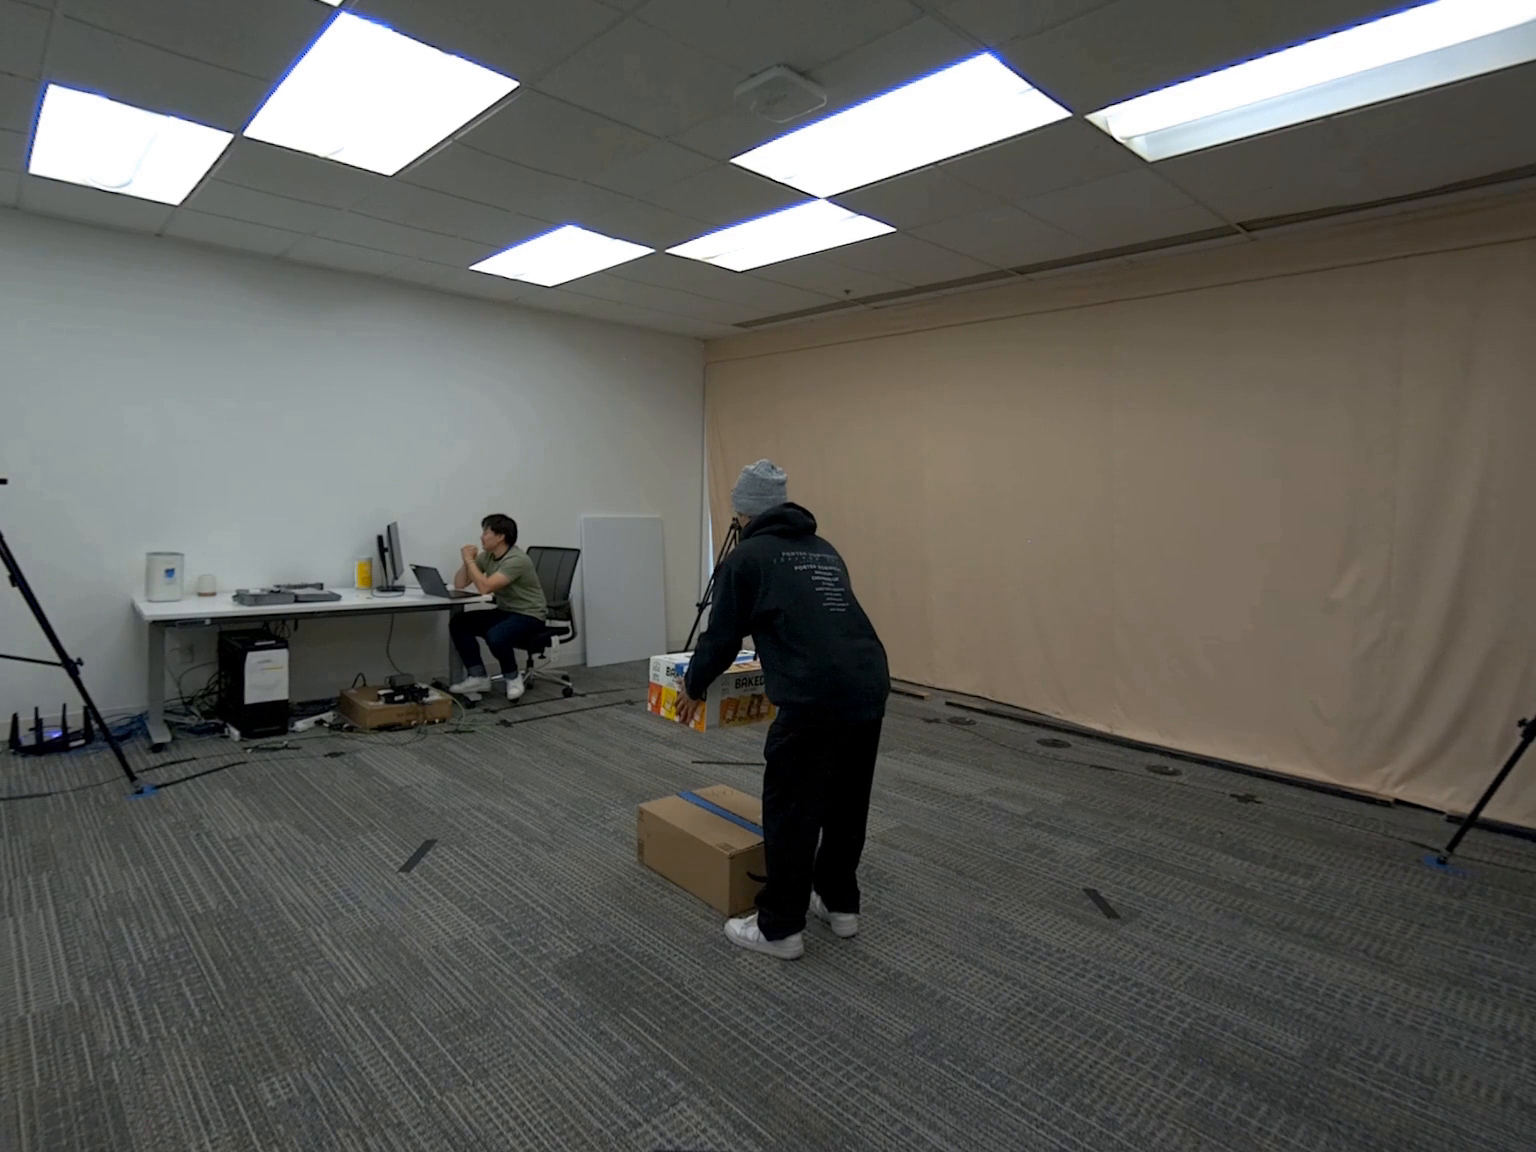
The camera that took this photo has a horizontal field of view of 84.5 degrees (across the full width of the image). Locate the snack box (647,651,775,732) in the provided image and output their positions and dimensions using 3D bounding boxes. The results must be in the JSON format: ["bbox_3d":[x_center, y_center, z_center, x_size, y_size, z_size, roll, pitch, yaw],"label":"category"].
[{"bbox_3d":[-0.186,0.412,3.116,0.395,0.205,0.349,-1,7,-43],"label":"snack box"}]
